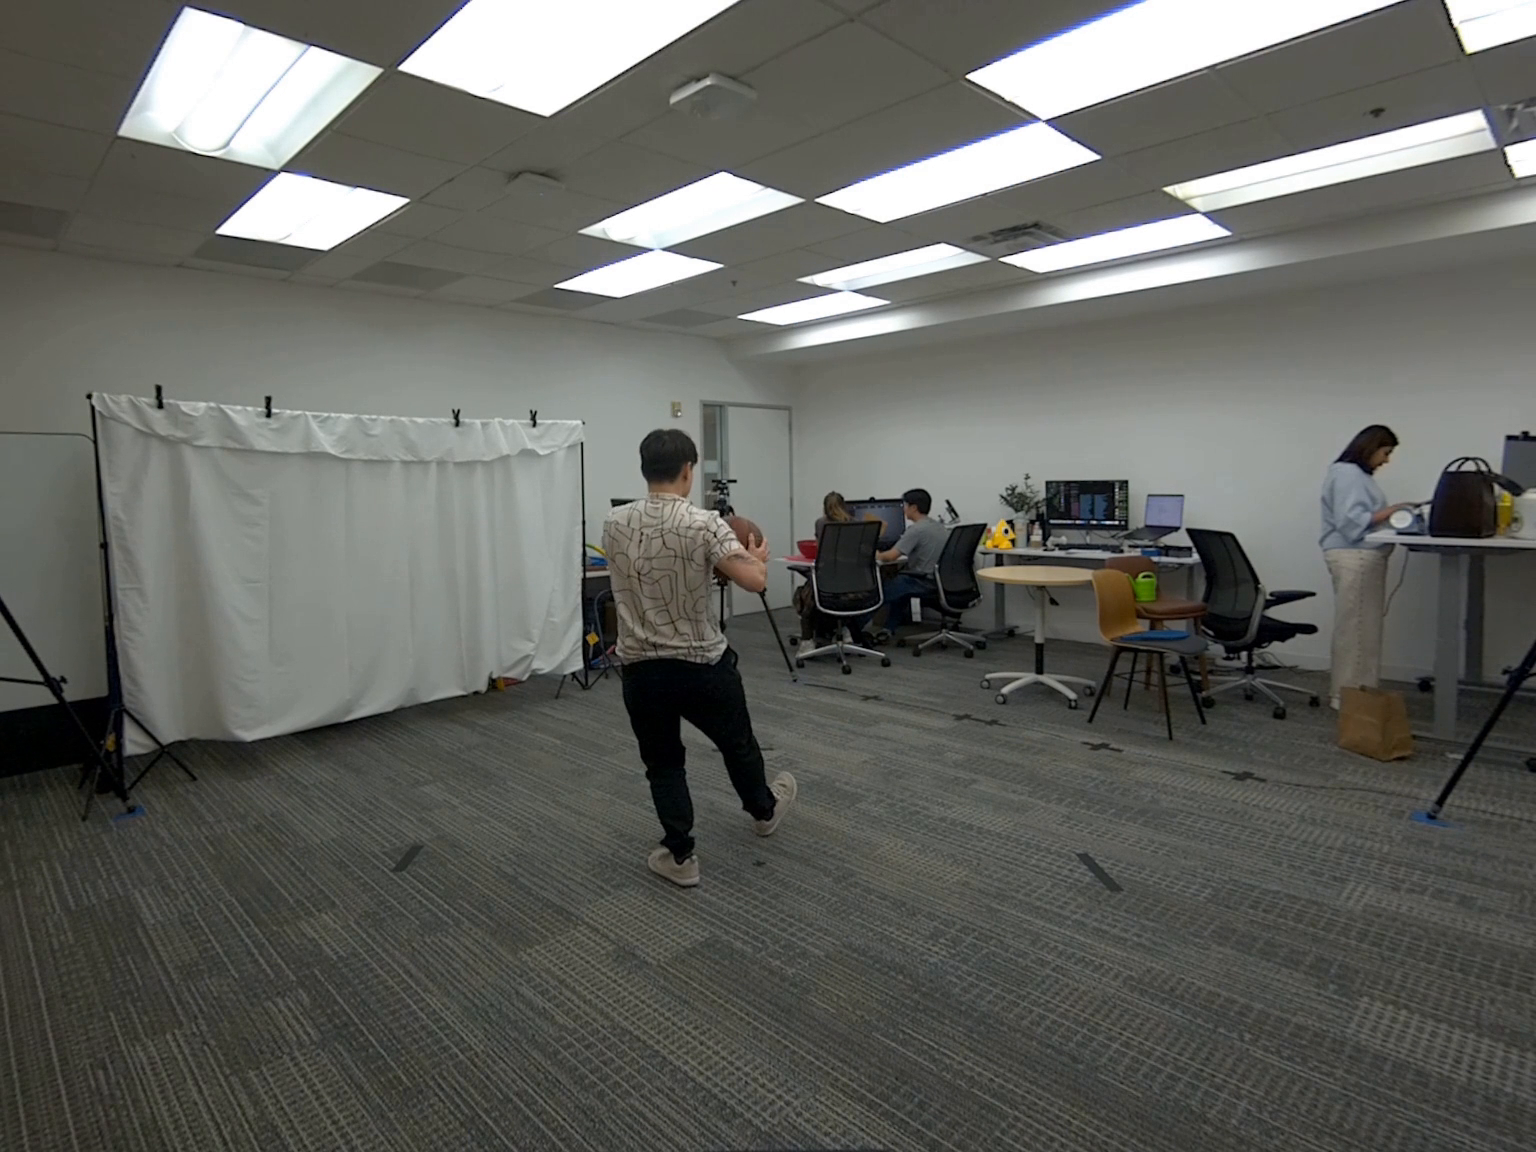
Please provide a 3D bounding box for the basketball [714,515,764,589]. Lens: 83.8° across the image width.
[{"bbox_3d":[-0.125,-0.096,3.131,0.236,0.235,0.237,-1,5,-2],"label":"basketball"}]
